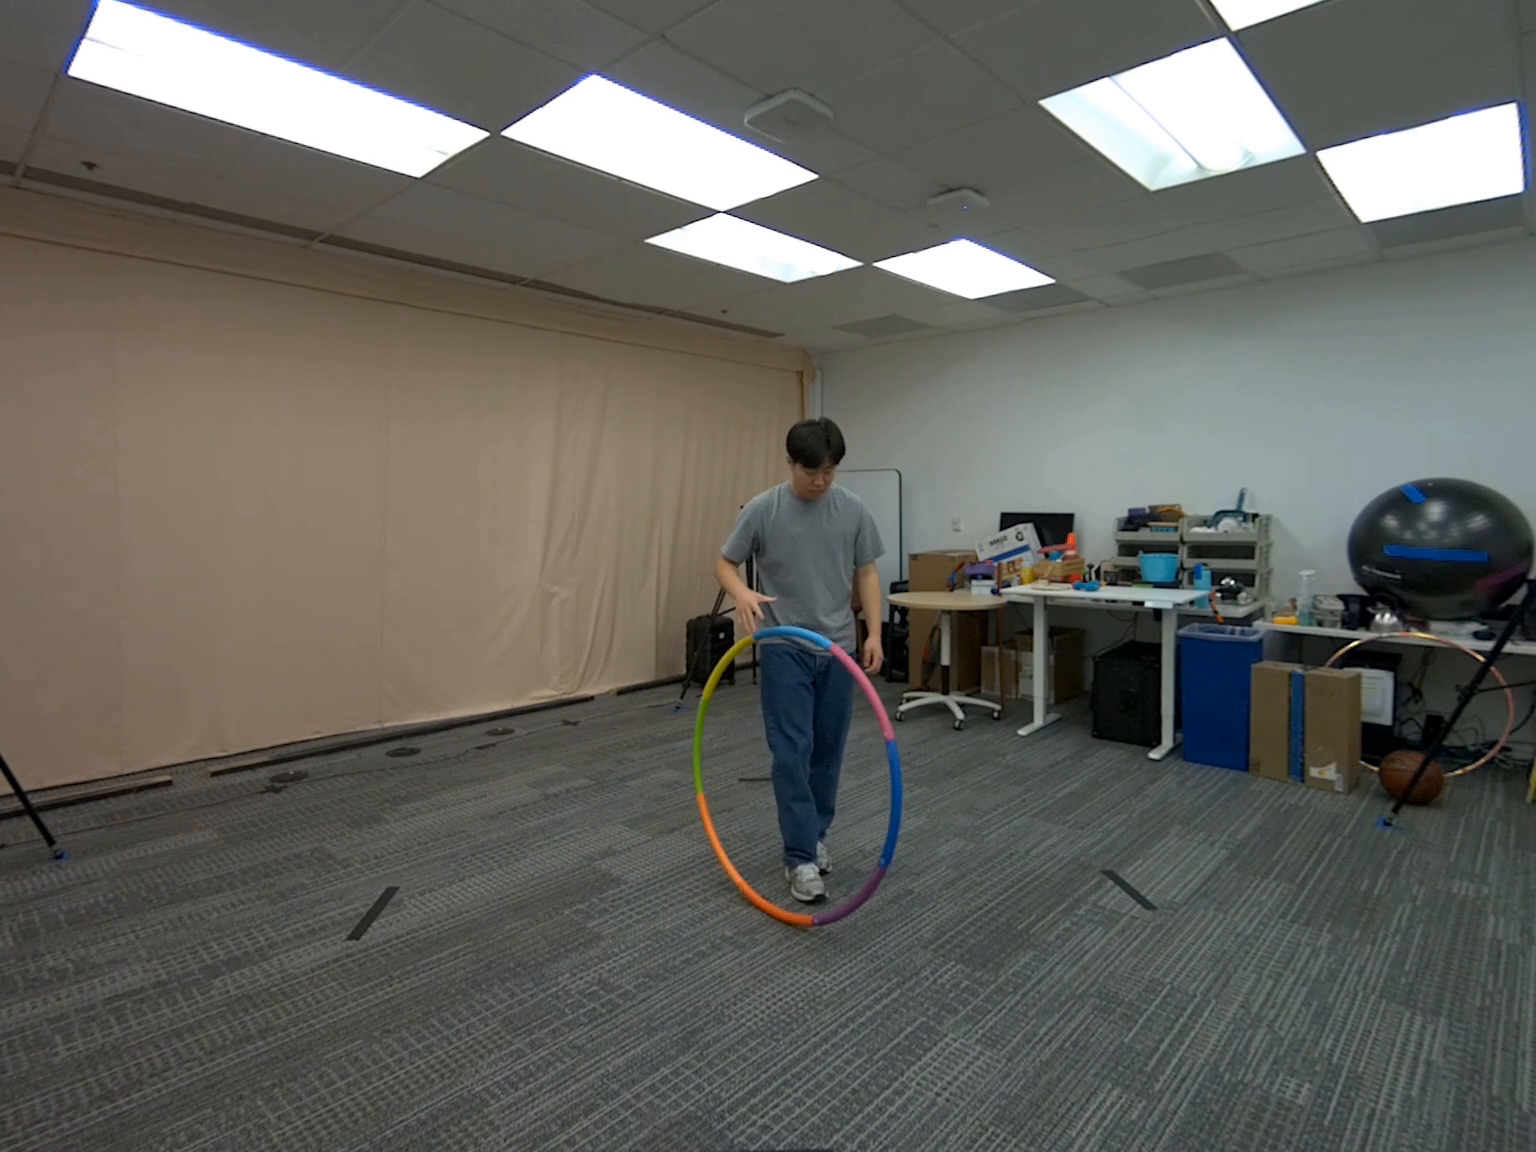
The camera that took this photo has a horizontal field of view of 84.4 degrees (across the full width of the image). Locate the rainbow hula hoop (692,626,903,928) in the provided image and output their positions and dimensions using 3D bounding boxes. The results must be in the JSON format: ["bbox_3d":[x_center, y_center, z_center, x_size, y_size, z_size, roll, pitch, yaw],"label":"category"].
[{"bbox_3d":[0.066,0.663,2.870,0.034,0.979,1.011,7,-1,-41],"label":"rainbow hula hoop"}]
